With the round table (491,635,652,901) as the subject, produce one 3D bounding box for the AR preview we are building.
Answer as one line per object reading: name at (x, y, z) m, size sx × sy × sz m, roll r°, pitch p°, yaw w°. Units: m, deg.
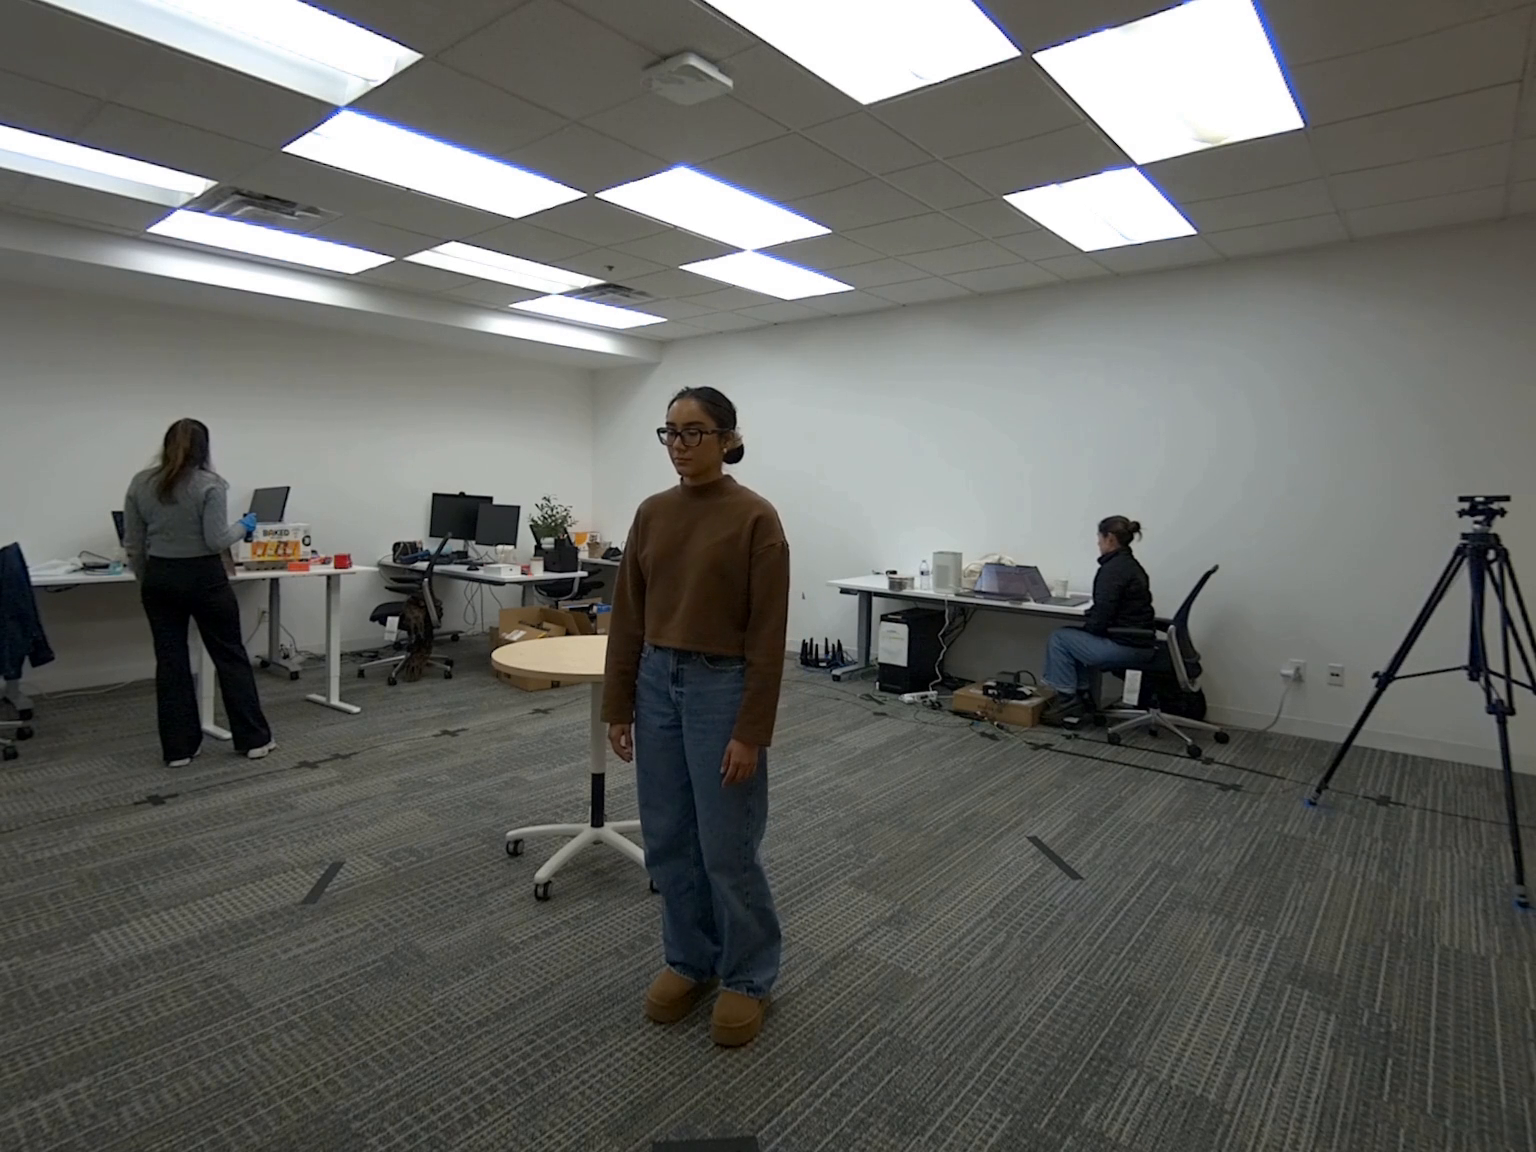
round table at (-0.637, 0.670, 3.118) m, size 0.763 × 0.791 × 0.768 m, roll 1°, pitch 4°, yaw -2°
